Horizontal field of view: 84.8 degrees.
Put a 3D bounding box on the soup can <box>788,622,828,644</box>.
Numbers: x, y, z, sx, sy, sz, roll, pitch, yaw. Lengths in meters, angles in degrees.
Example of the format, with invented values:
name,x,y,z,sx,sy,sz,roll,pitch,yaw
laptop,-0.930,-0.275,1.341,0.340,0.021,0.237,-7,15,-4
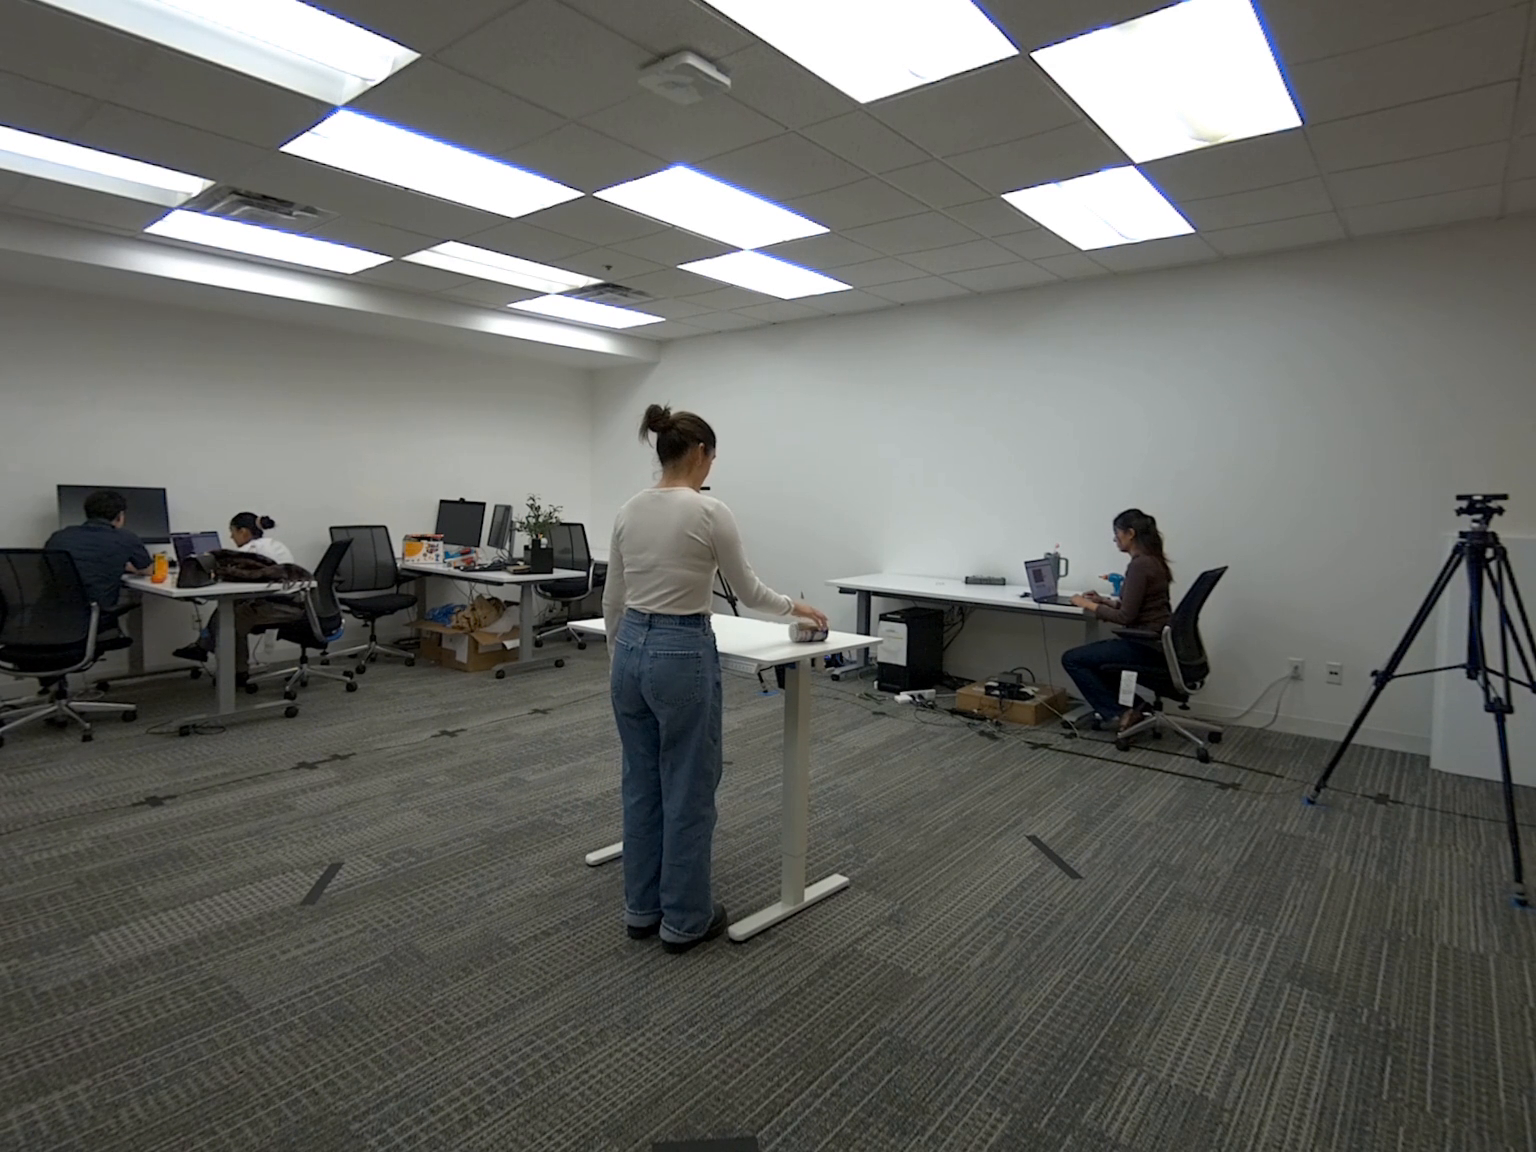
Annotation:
name,x,y,z,sx,sy,sz,roll,pitch,yaw
soup can,0.127,0.181,2.821,0.119,0.067,0.068,2,3,-18
